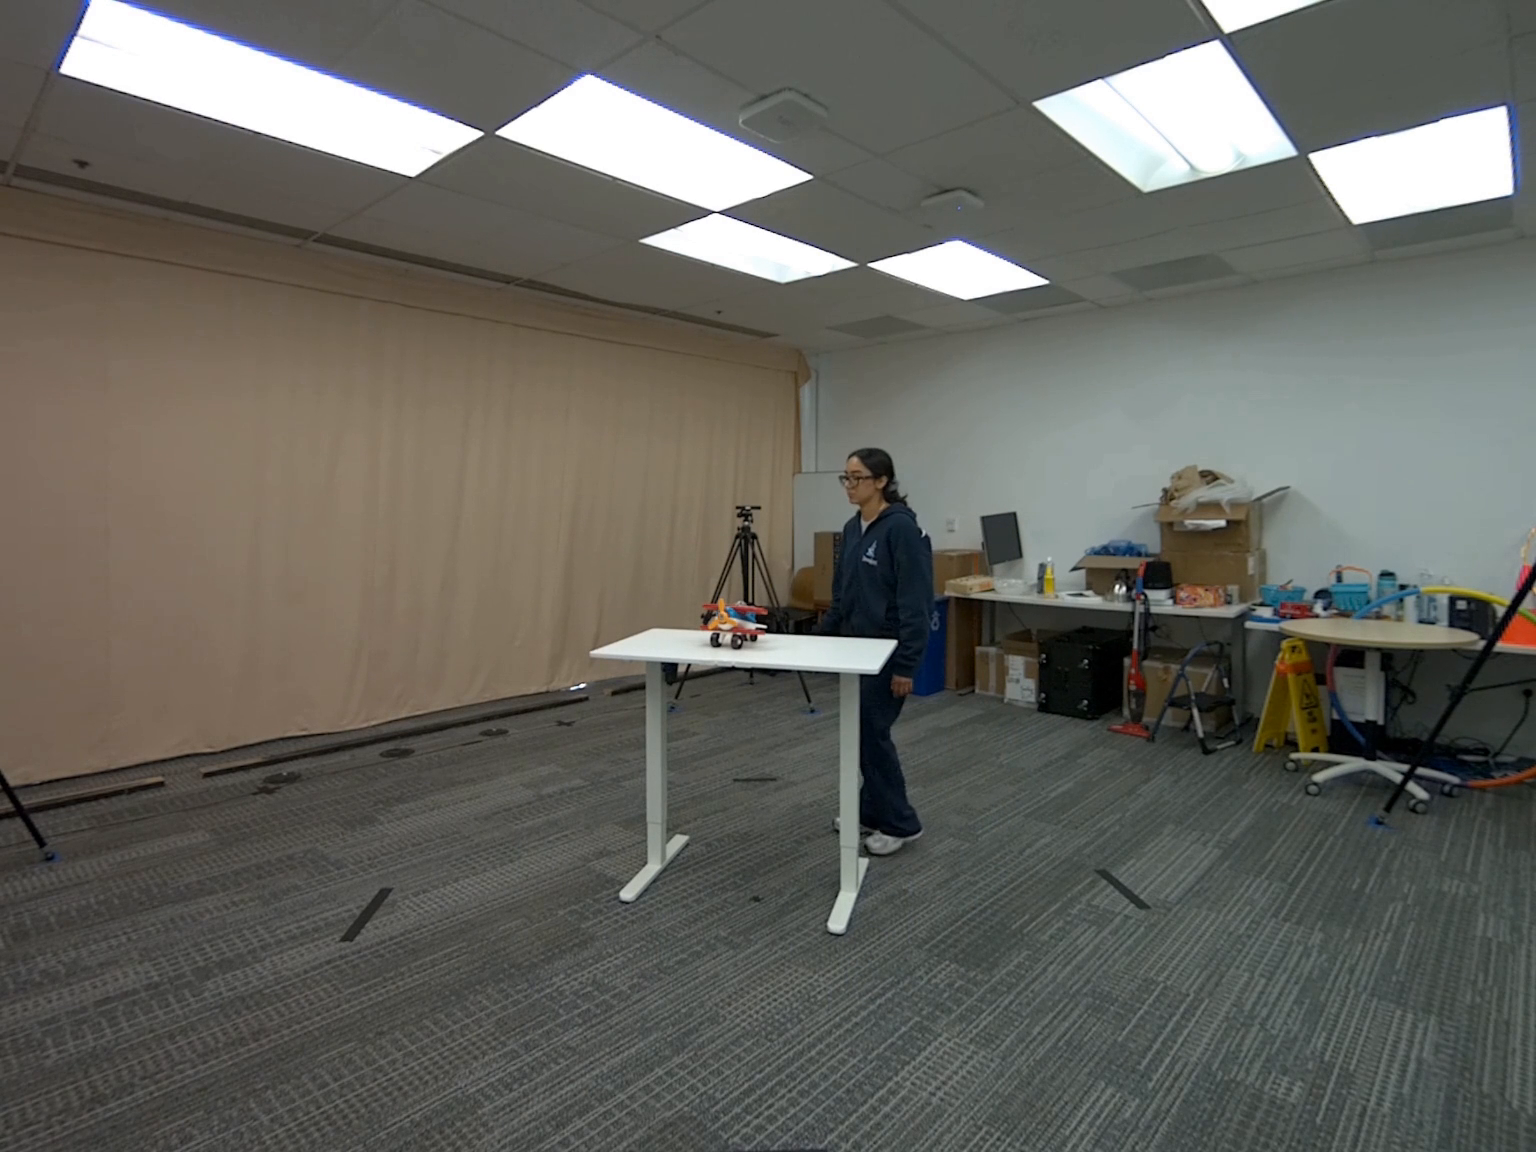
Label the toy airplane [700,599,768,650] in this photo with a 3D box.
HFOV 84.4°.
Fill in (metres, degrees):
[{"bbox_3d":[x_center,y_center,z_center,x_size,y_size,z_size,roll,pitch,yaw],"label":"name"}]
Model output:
[{"bbox_3d":[-0.112,0.178,3.104,0.251,0.156,0.260,0,5,0],"label":"toy airplane"}]
